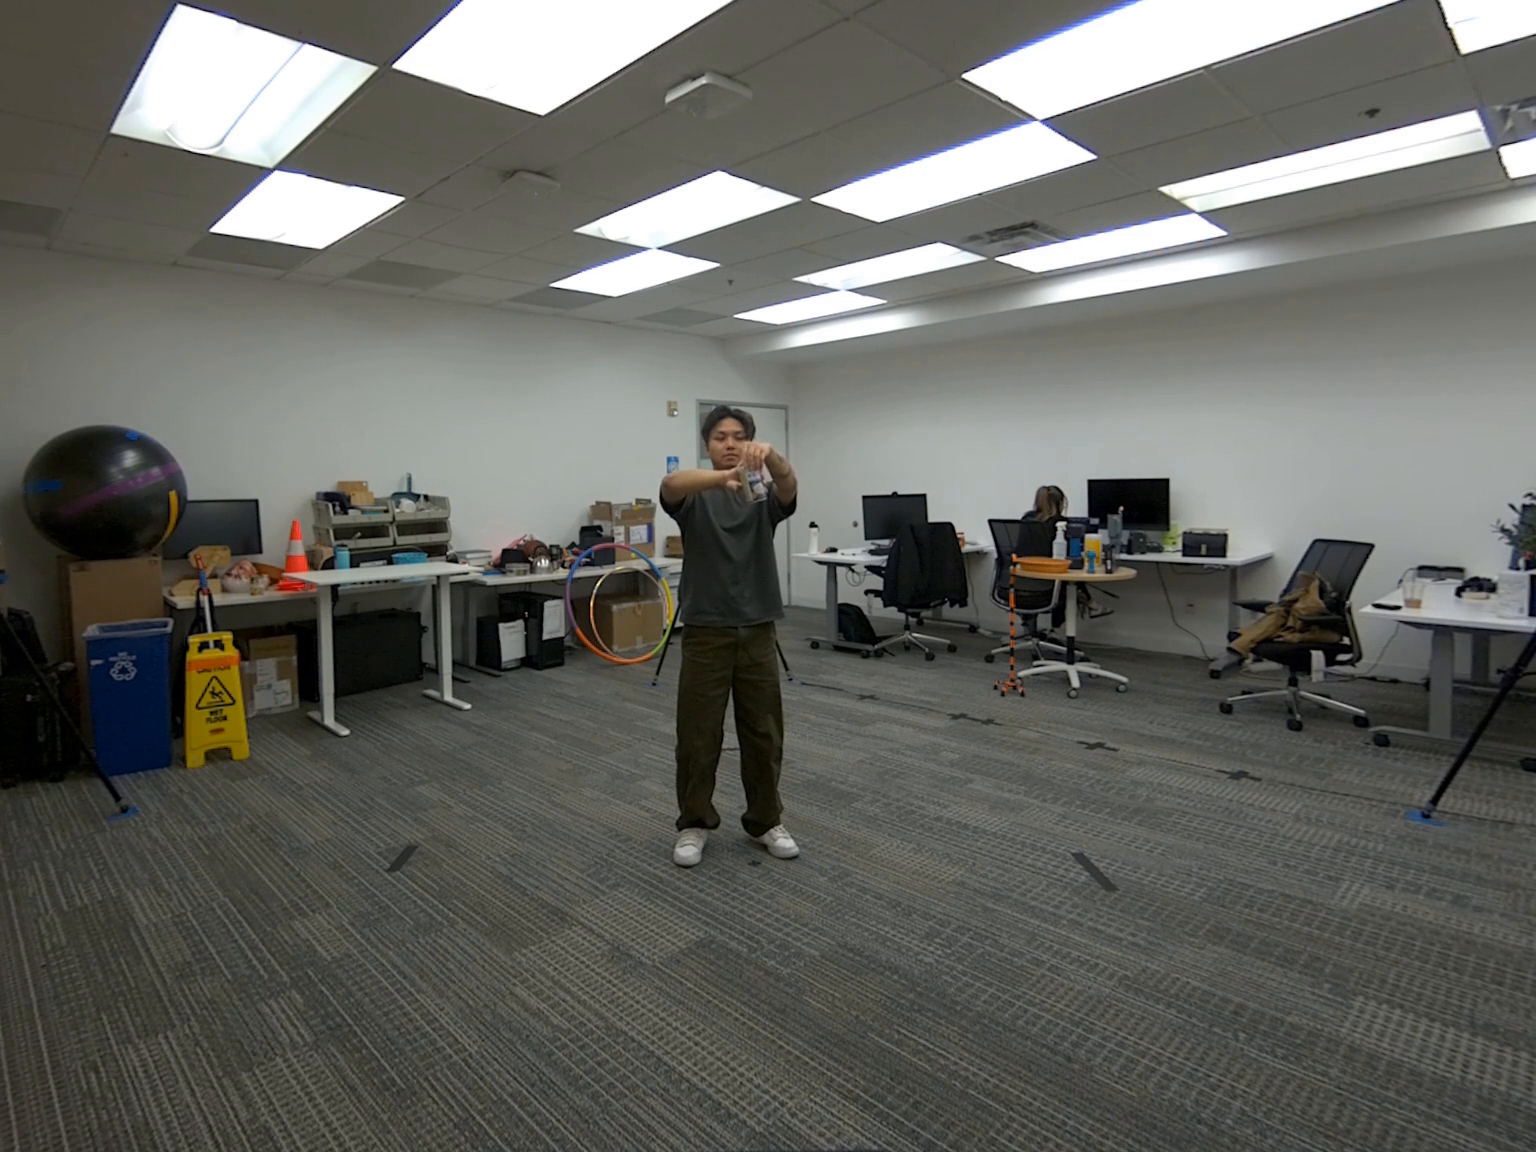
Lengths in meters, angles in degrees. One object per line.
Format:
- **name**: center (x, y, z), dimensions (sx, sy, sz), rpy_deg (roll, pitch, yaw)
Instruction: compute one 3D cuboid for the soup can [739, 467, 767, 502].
- **soup can**: center (-0.055, -0.288, 2.707), dimensions (0.067, 0.121, 0.067), rpy_deg (-16, 2, -1)
